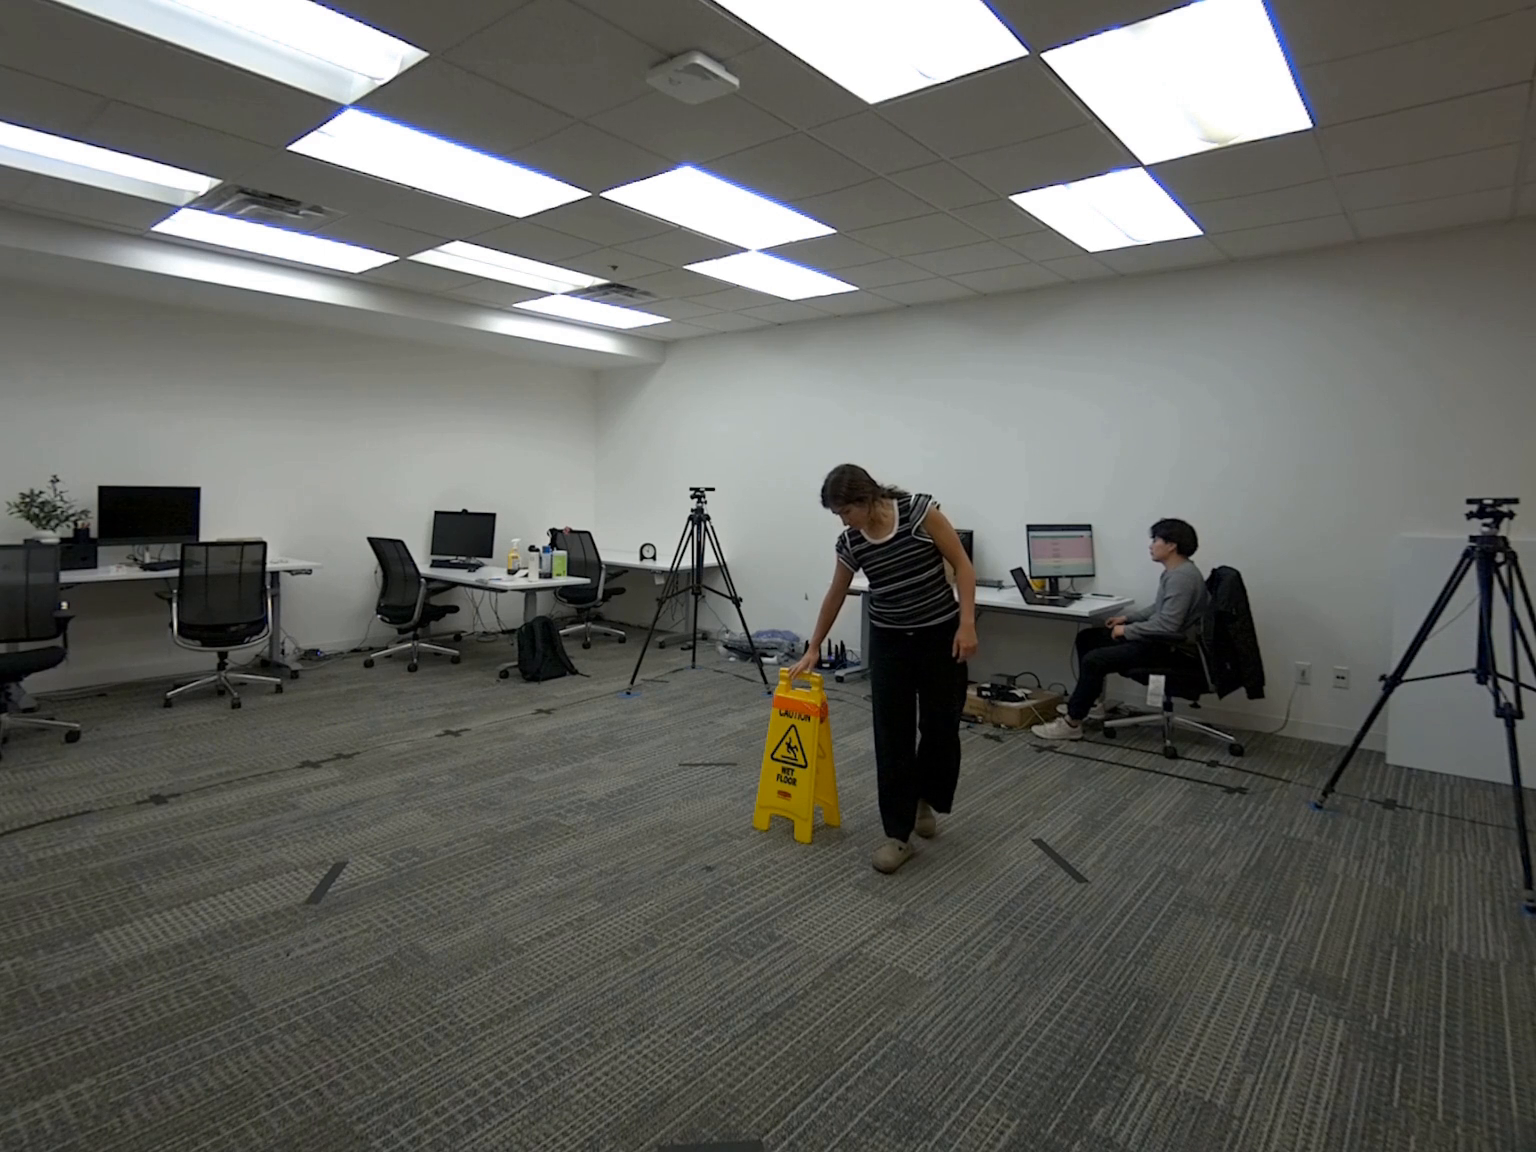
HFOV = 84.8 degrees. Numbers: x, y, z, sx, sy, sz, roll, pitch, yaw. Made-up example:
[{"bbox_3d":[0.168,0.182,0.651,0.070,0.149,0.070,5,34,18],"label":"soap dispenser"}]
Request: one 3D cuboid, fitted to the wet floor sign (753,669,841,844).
[{"bbox_3d":[0.117,0.708,3.514,0.291,0.645,0.281,4,3,36],"label":"wet floor sign"}]
